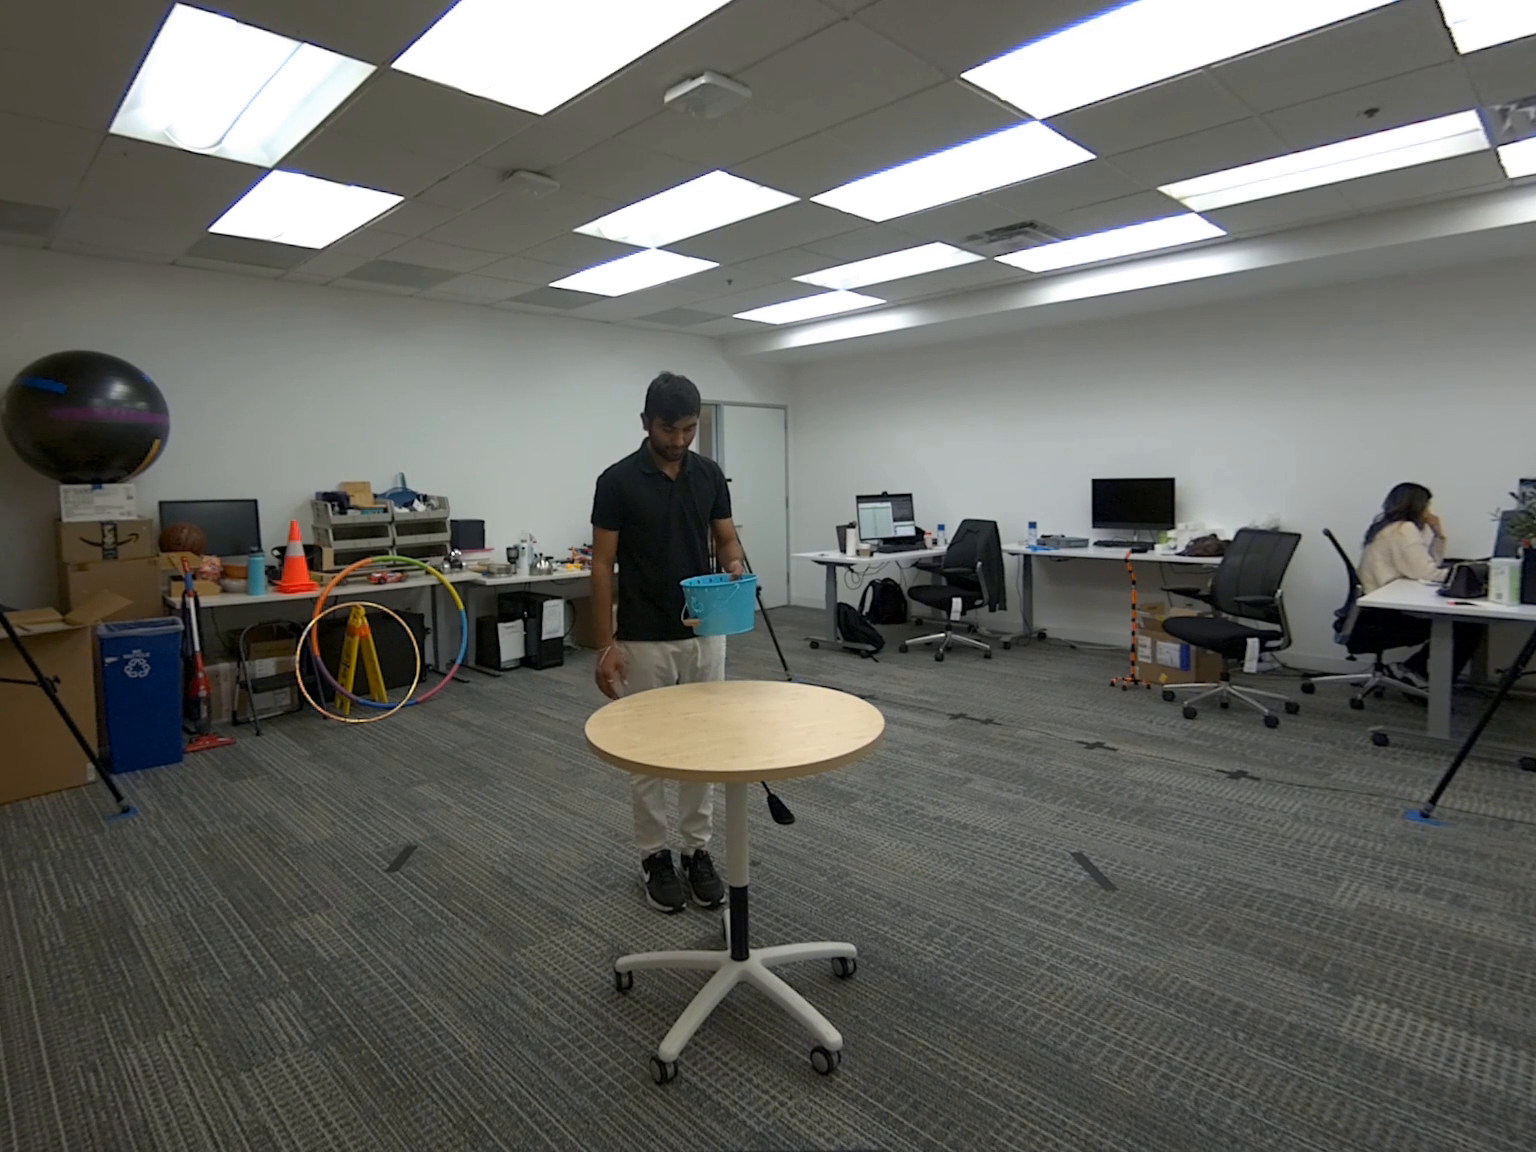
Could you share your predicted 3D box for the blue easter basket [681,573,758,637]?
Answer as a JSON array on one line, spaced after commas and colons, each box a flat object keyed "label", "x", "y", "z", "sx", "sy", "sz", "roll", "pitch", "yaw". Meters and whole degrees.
[{"label": "blue easter basket", "x": -0.154, "y": 0.084, "z": 2.540, "sx": 0.243, "sy": 0.155, "sz": 0.245, "roll": -2, "pitch": 5, "yaw": -1}]
